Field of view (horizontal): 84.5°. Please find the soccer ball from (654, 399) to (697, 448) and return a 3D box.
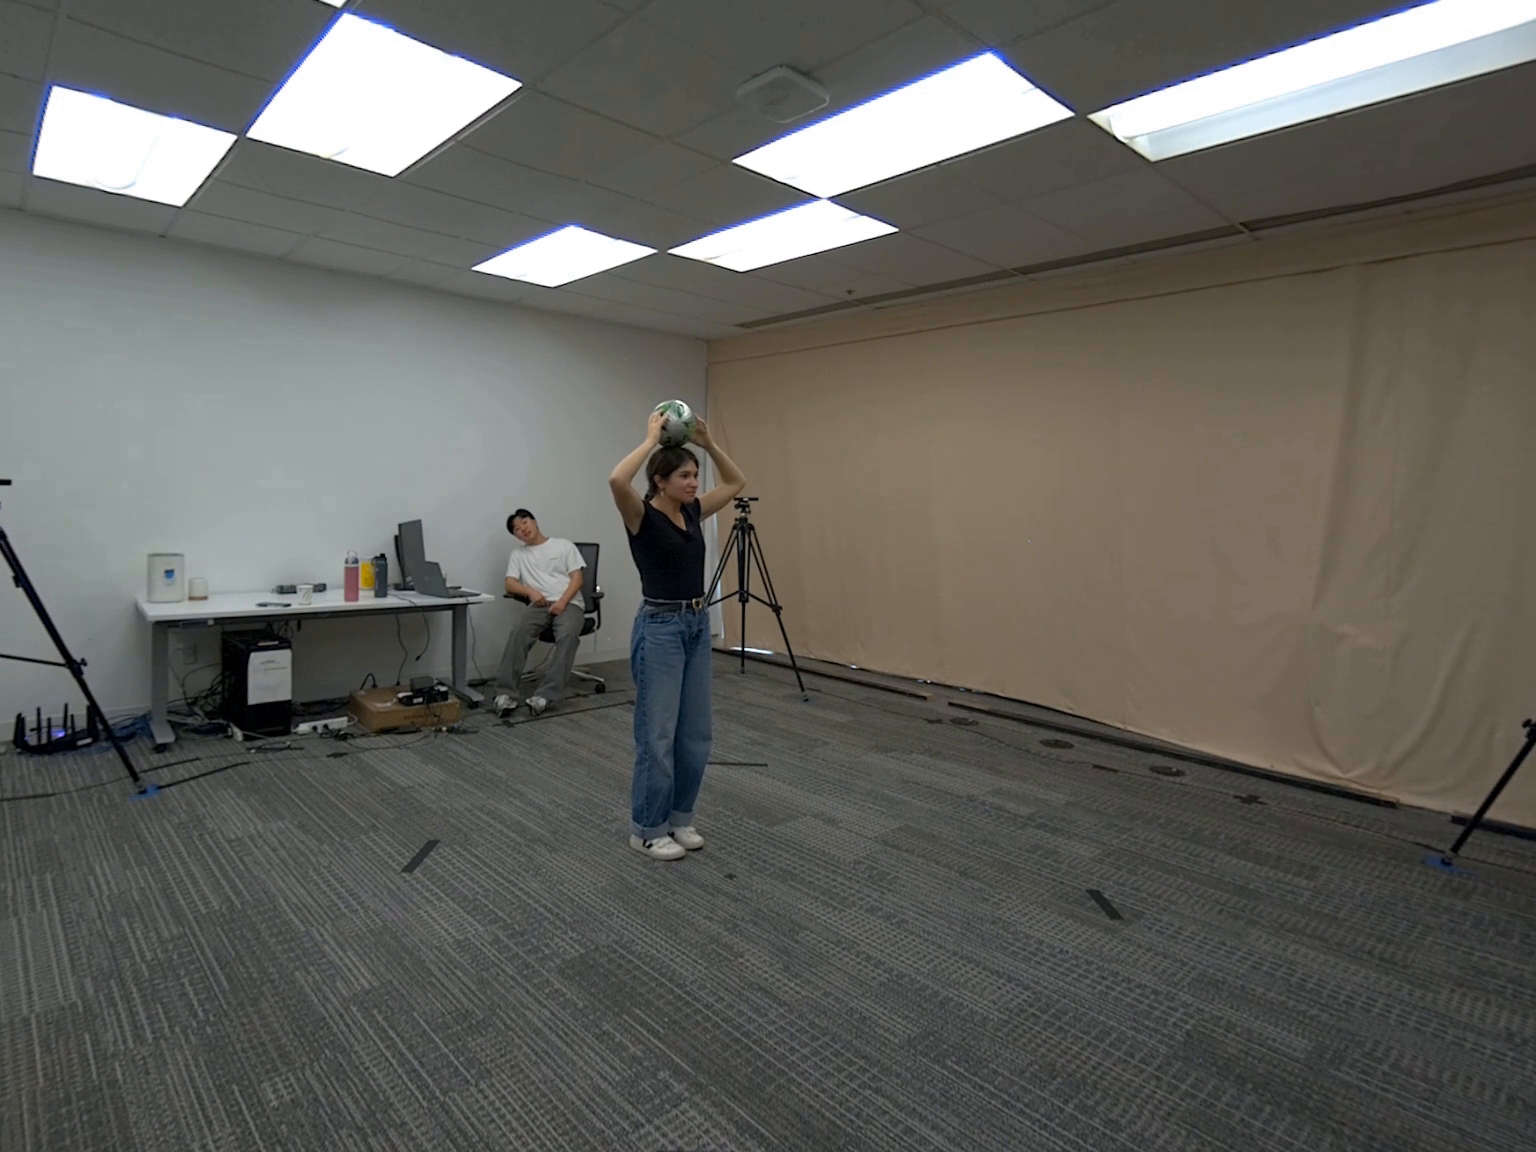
[{"bbox_3d":[-0.384,-0.592,3.300,0.187,0.187,0.188,1,4,-1],"label":"soccer ball"}]
